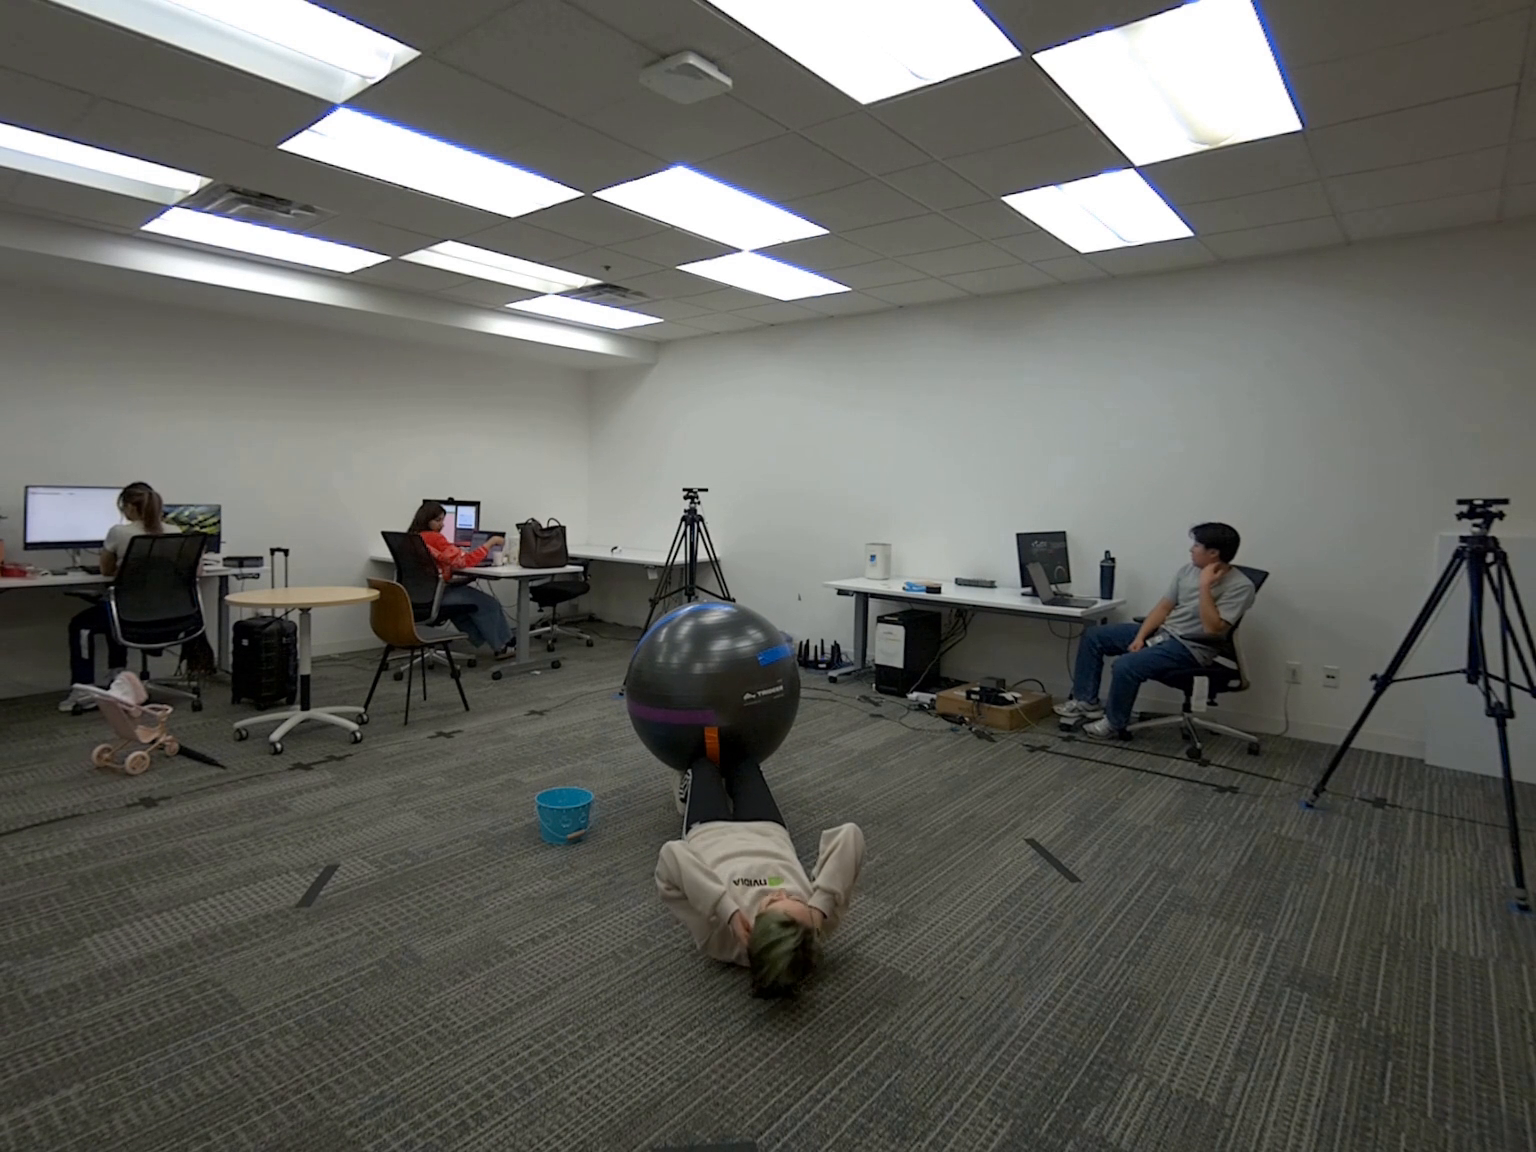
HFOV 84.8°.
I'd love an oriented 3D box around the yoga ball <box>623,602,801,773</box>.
[{"bbox_3d":[-0.253,0.481,3.683,0.757,0.756,0.761,1,4,-2],"label":"yoga ball"}]
